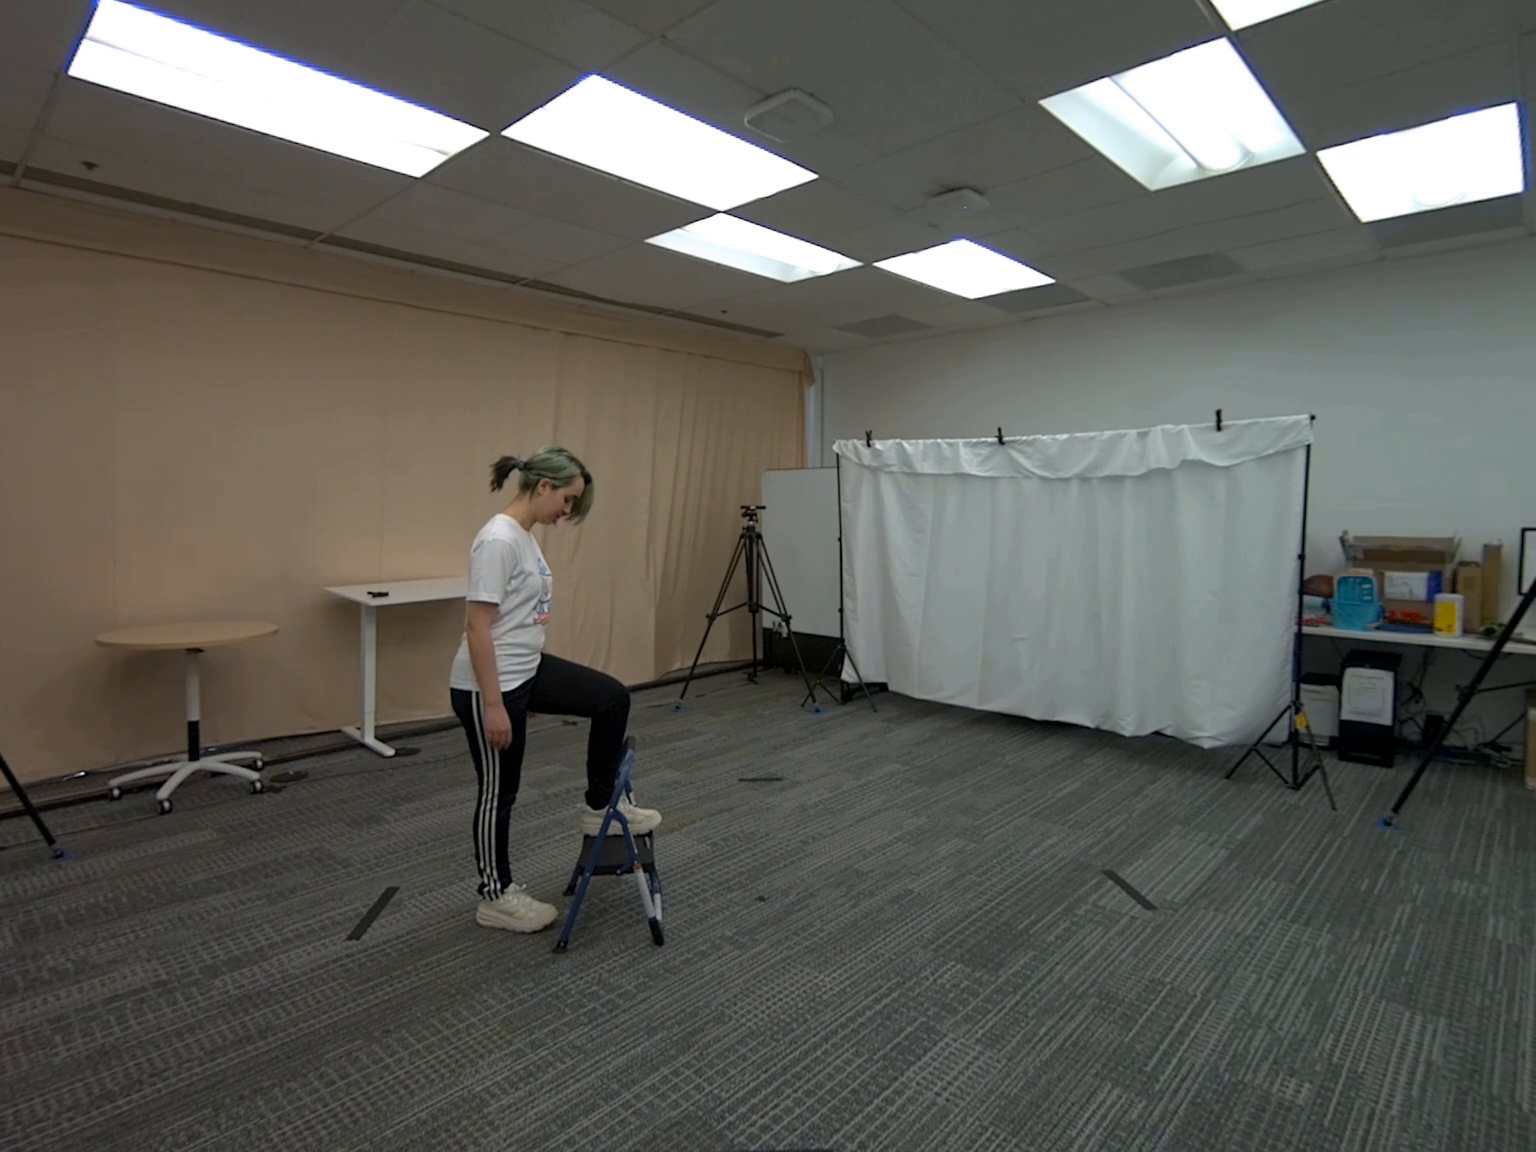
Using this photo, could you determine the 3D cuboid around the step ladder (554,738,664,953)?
[{"bbox_3d":[-0.533,0.864,2.834,0.346,0.605,0.435,-1,3,-8],"label":"step ladder"}]
